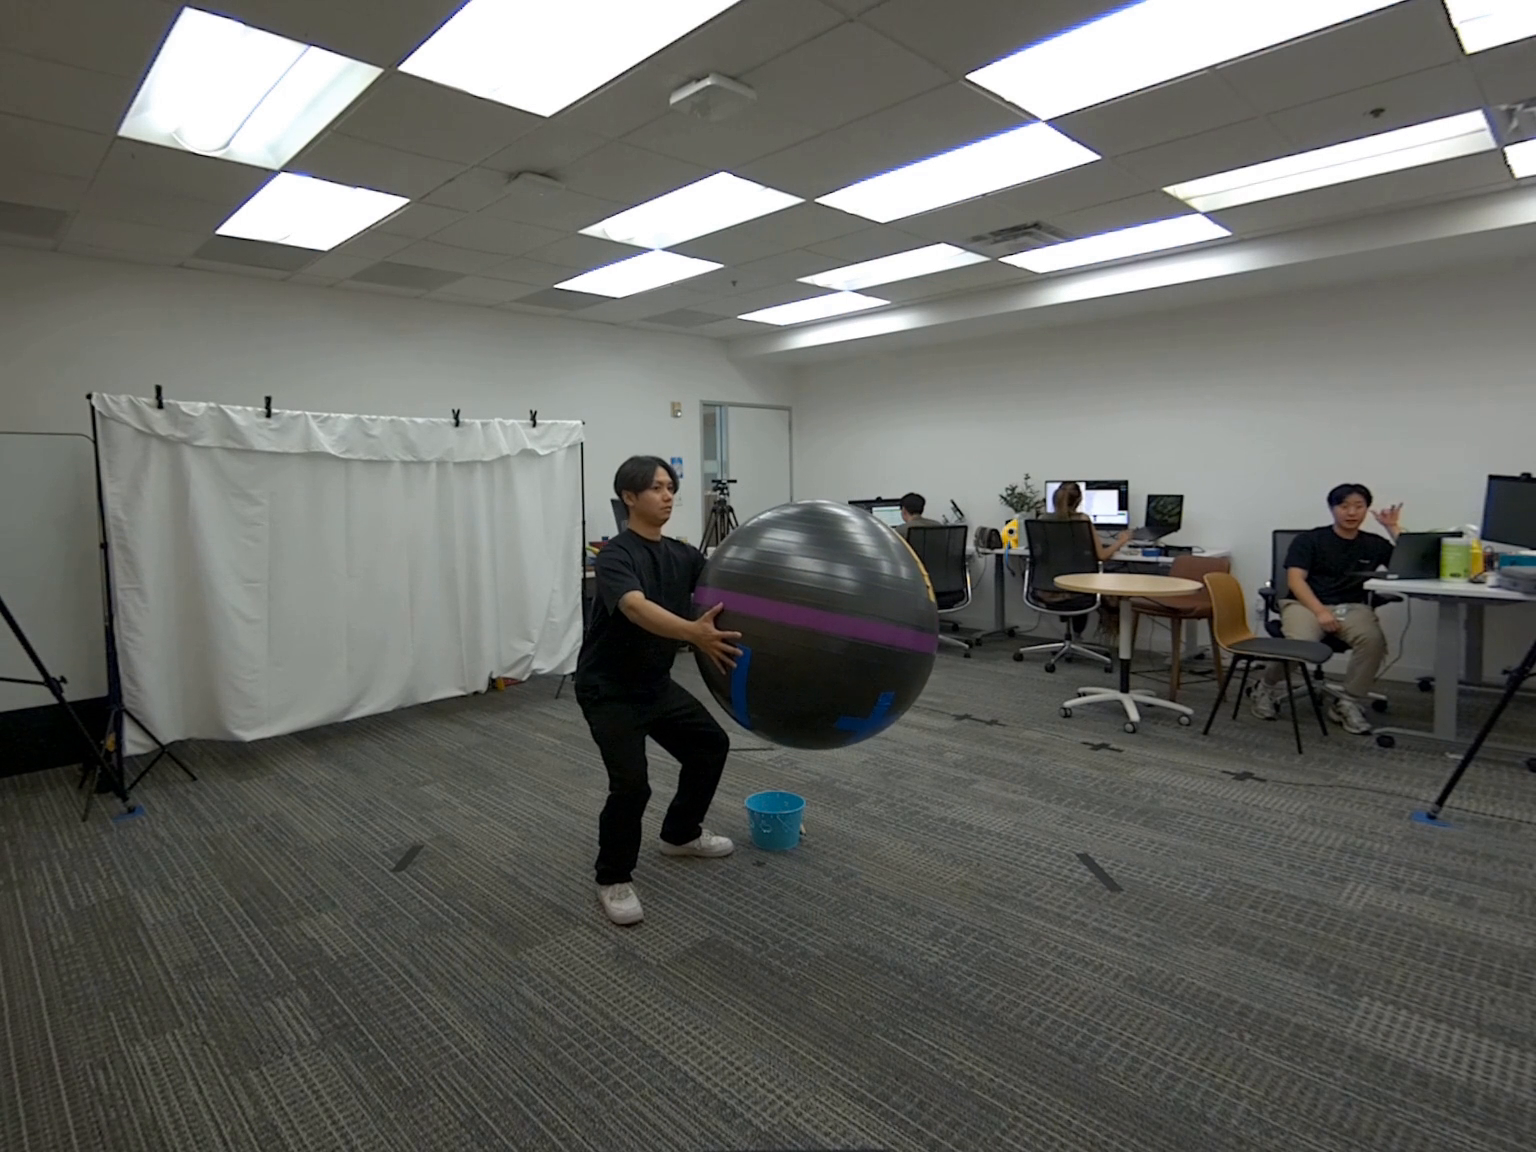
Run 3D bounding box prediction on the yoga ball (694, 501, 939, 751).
[{"bbox_3d":[0.152,0.154,2.630,0.757,0.755,0.762,-1,5,-2],"label":"yoga ball"}]
